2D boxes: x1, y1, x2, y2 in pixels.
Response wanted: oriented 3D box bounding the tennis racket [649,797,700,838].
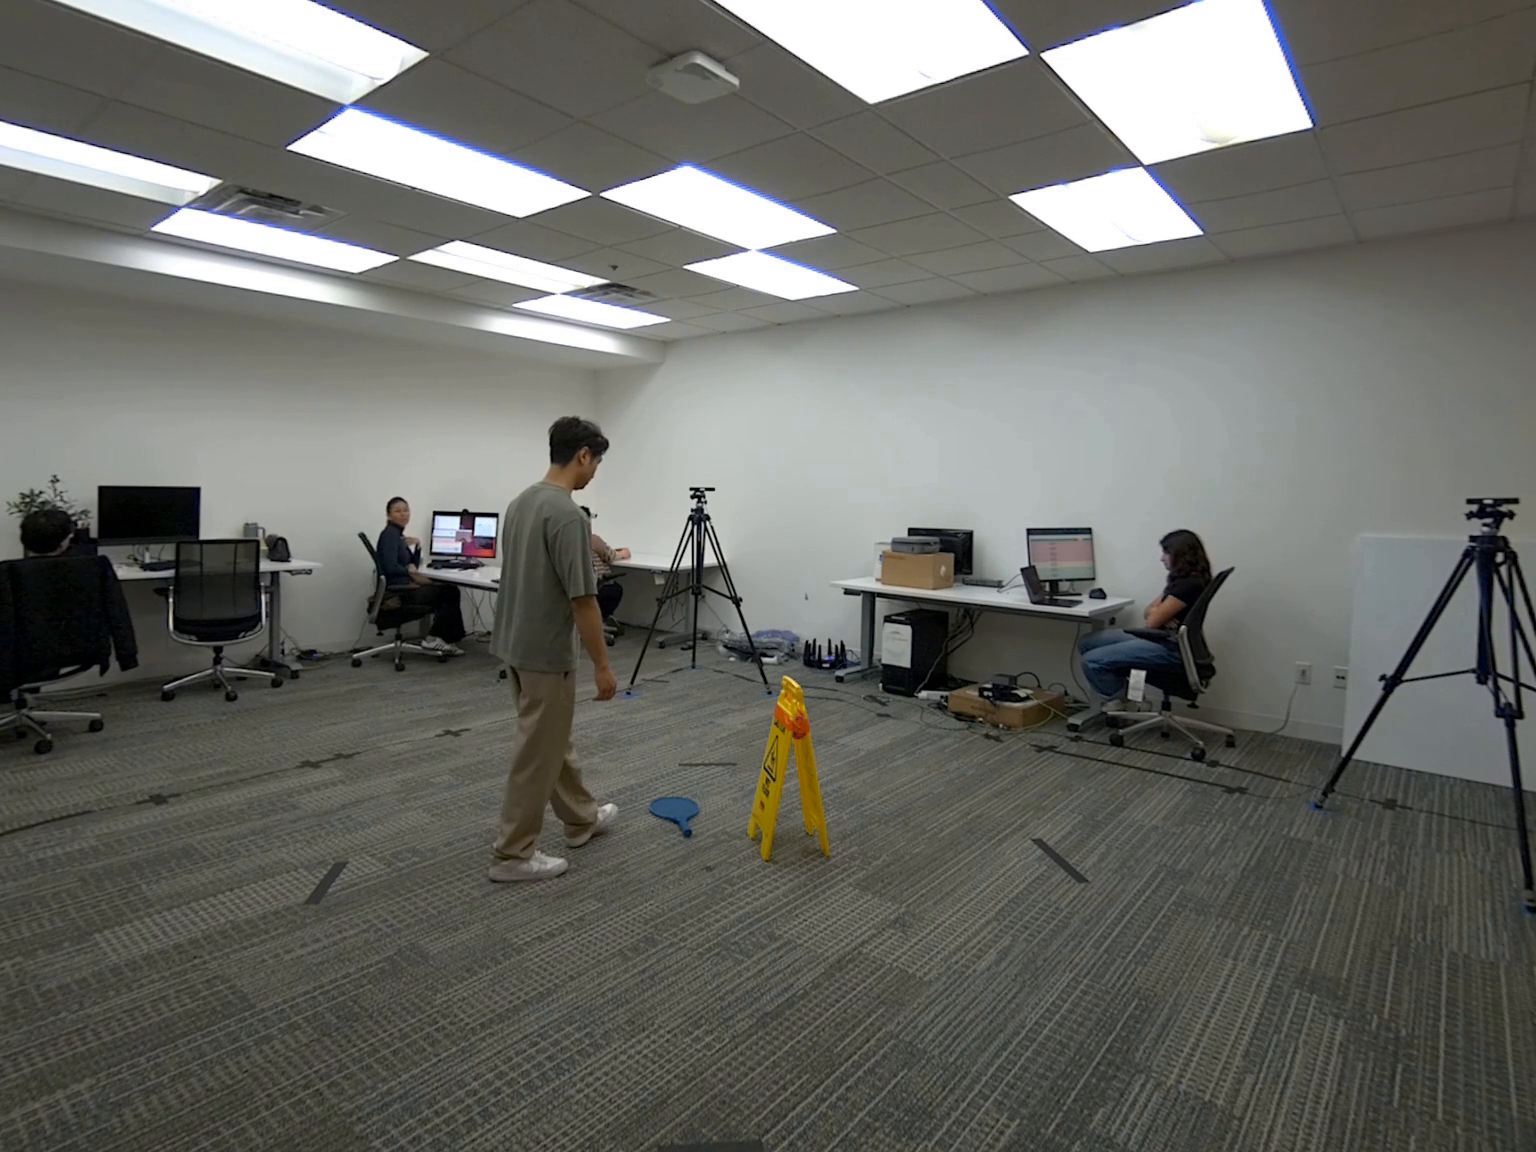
[{"bbox_3d":[-0.393,1.000,3.592,0.211,0.031,0.440,-1,4,-15],"label":"tennis racket"}]
